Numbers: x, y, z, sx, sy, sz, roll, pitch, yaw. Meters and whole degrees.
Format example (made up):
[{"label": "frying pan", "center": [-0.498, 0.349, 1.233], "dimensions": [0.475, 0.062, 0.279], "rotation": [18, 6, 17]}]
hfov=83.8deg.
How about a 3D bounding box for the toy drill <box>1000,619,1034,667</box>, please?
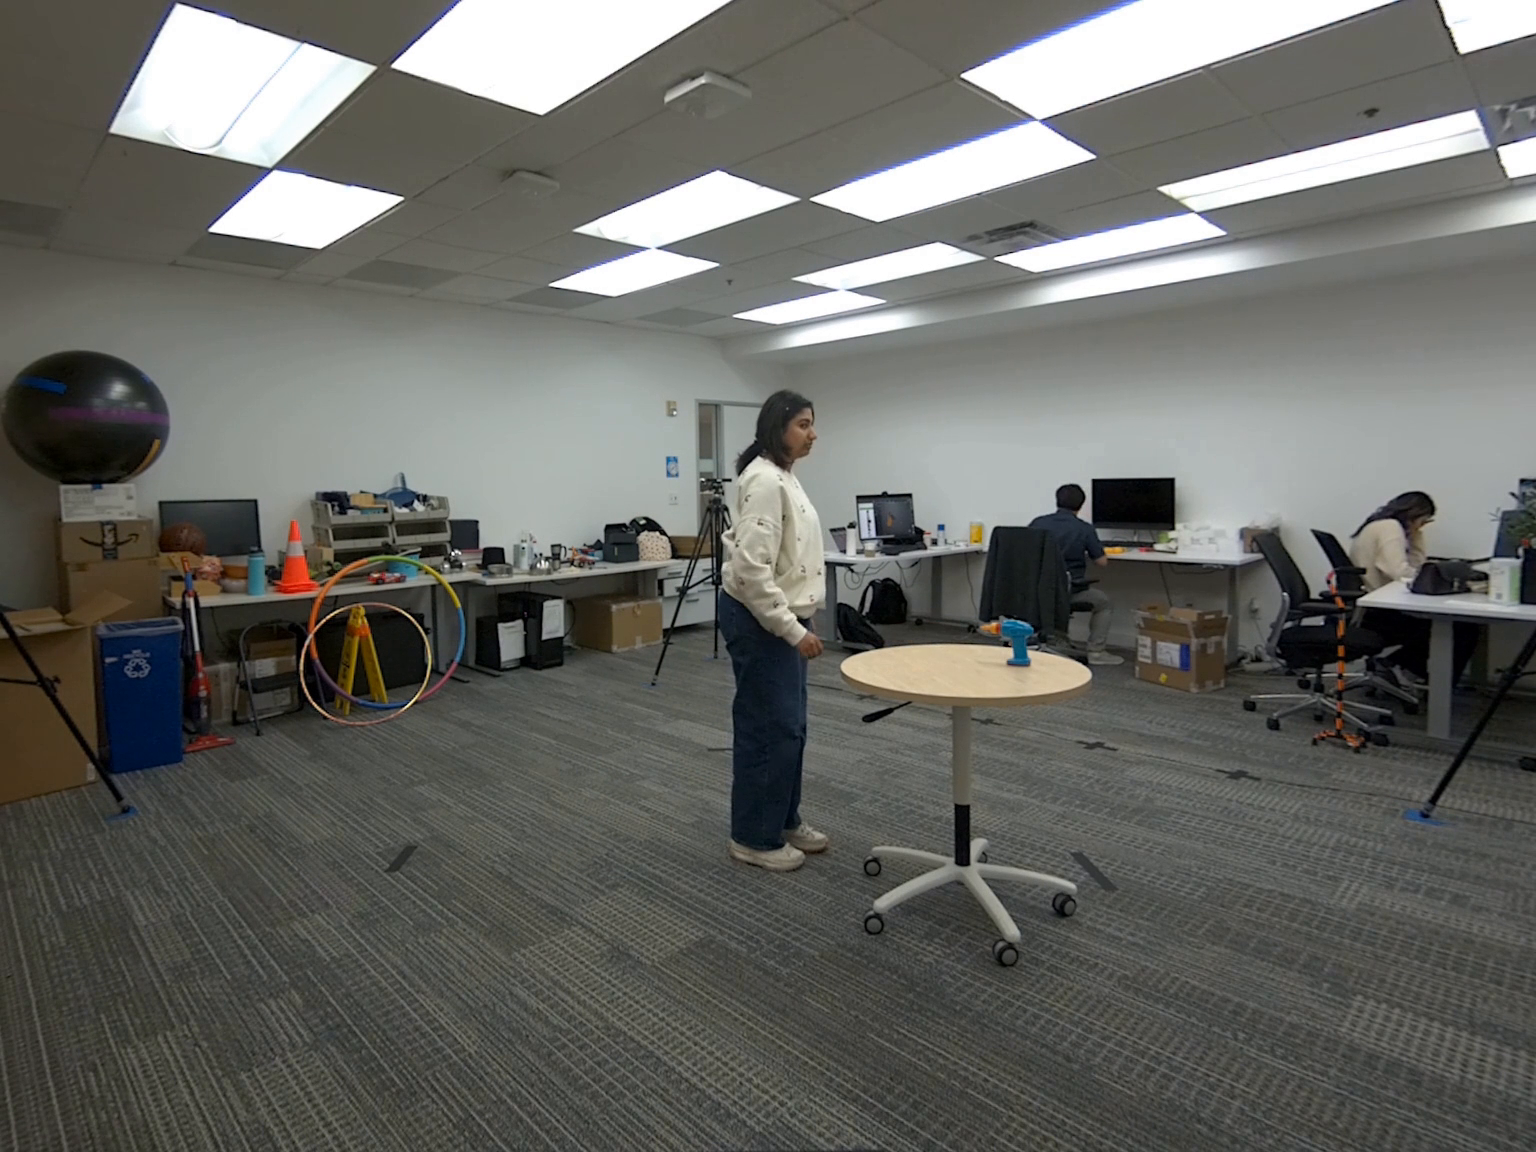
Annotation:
[{"label": "toy drill", "center": [0.774, 0.211, 2.752], "dimensions": [0.174, 0.145, 0.060], "rotation": [2, 5, 32]}]
